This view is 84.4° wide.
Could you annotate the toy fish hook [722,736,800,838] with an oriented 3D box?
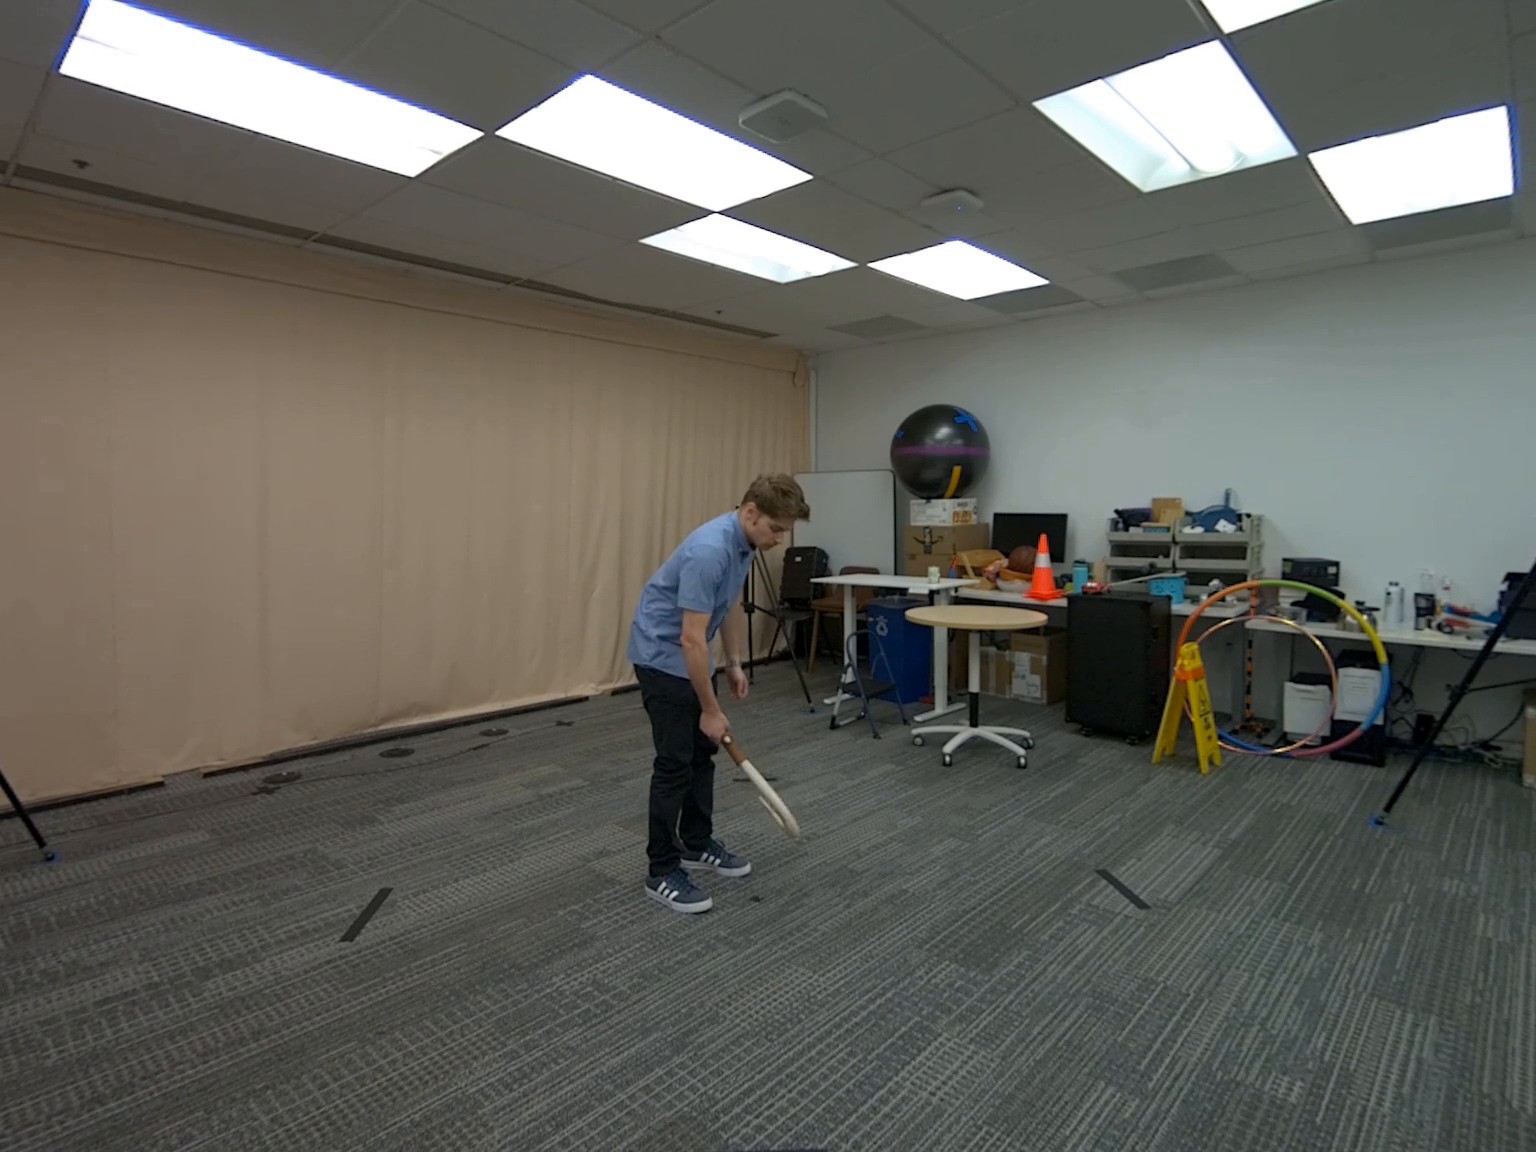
[{"bbox_3d":[-0.045,0.709,2.946,0.048,0.518,0.222,-30,-22,-22],"label":"toy fish hook"}]
